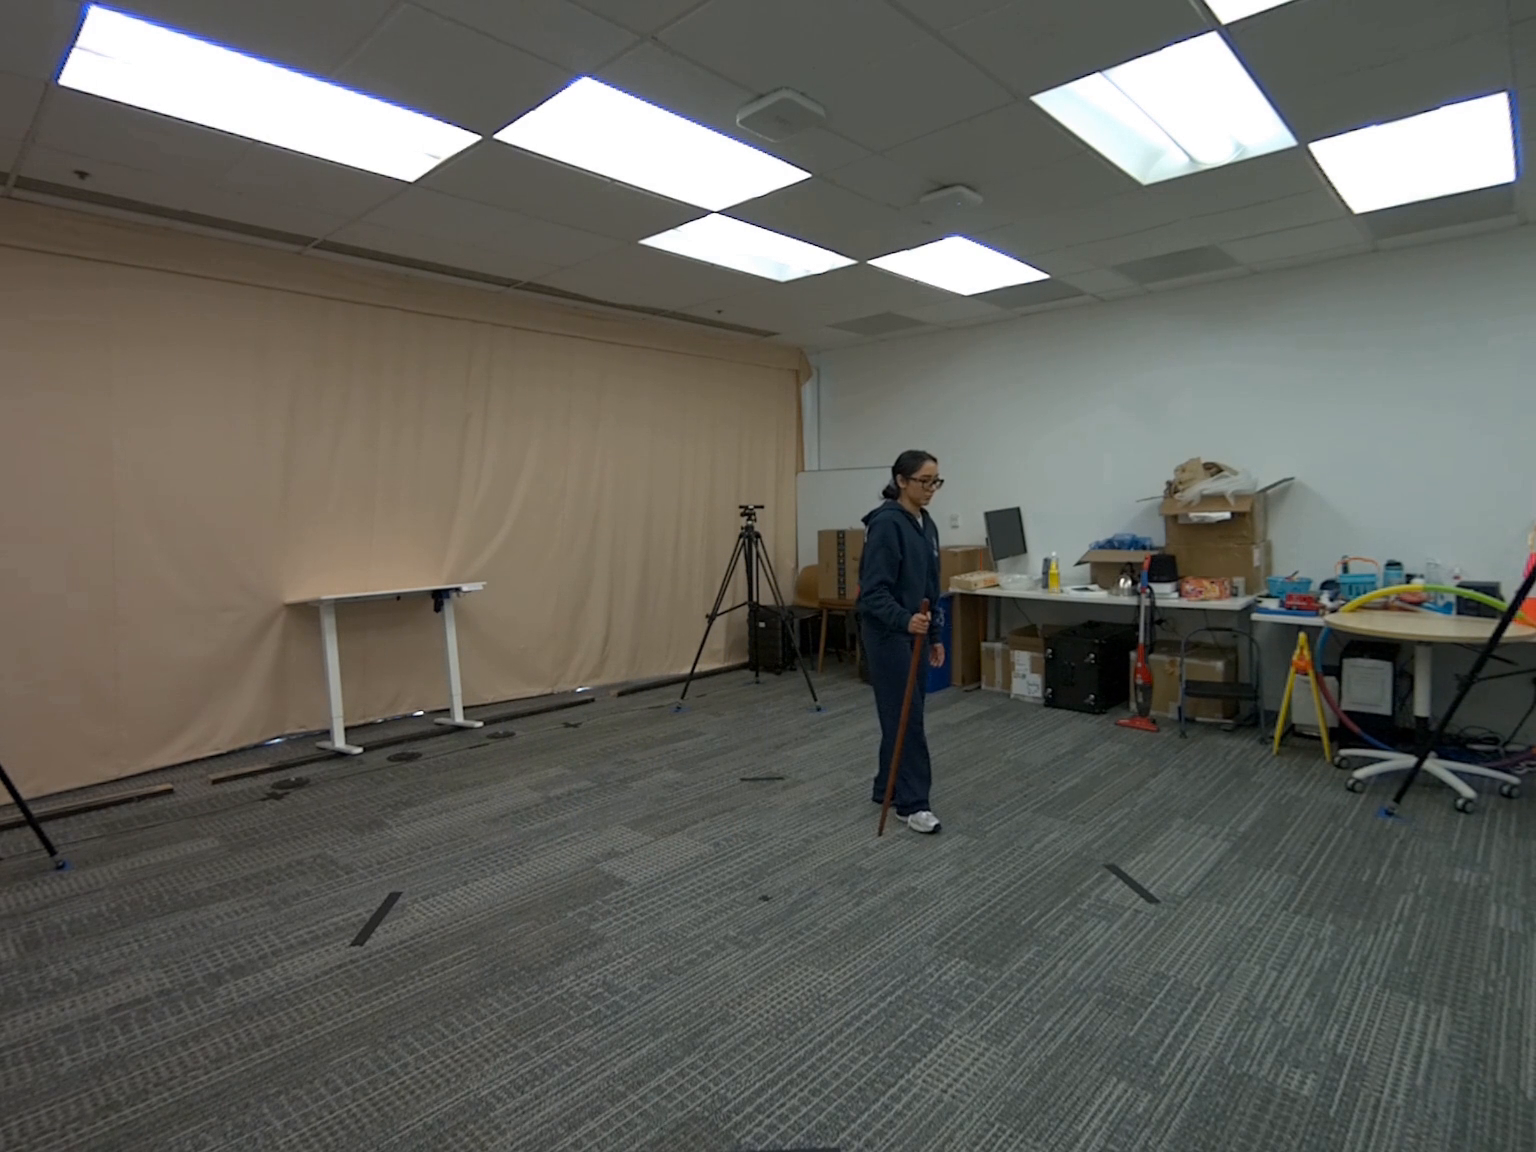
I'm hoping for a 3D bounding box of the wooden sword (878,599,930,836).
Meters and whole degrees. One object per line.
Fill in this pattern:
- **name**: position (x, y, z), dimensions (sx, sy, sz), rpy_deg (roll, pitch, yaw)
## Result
- **wooden sword**: position (0.544, 0.601, 3.438), dimensions (0.025, 1.019, 0.050), rpy_deg (17, 14, 41)
